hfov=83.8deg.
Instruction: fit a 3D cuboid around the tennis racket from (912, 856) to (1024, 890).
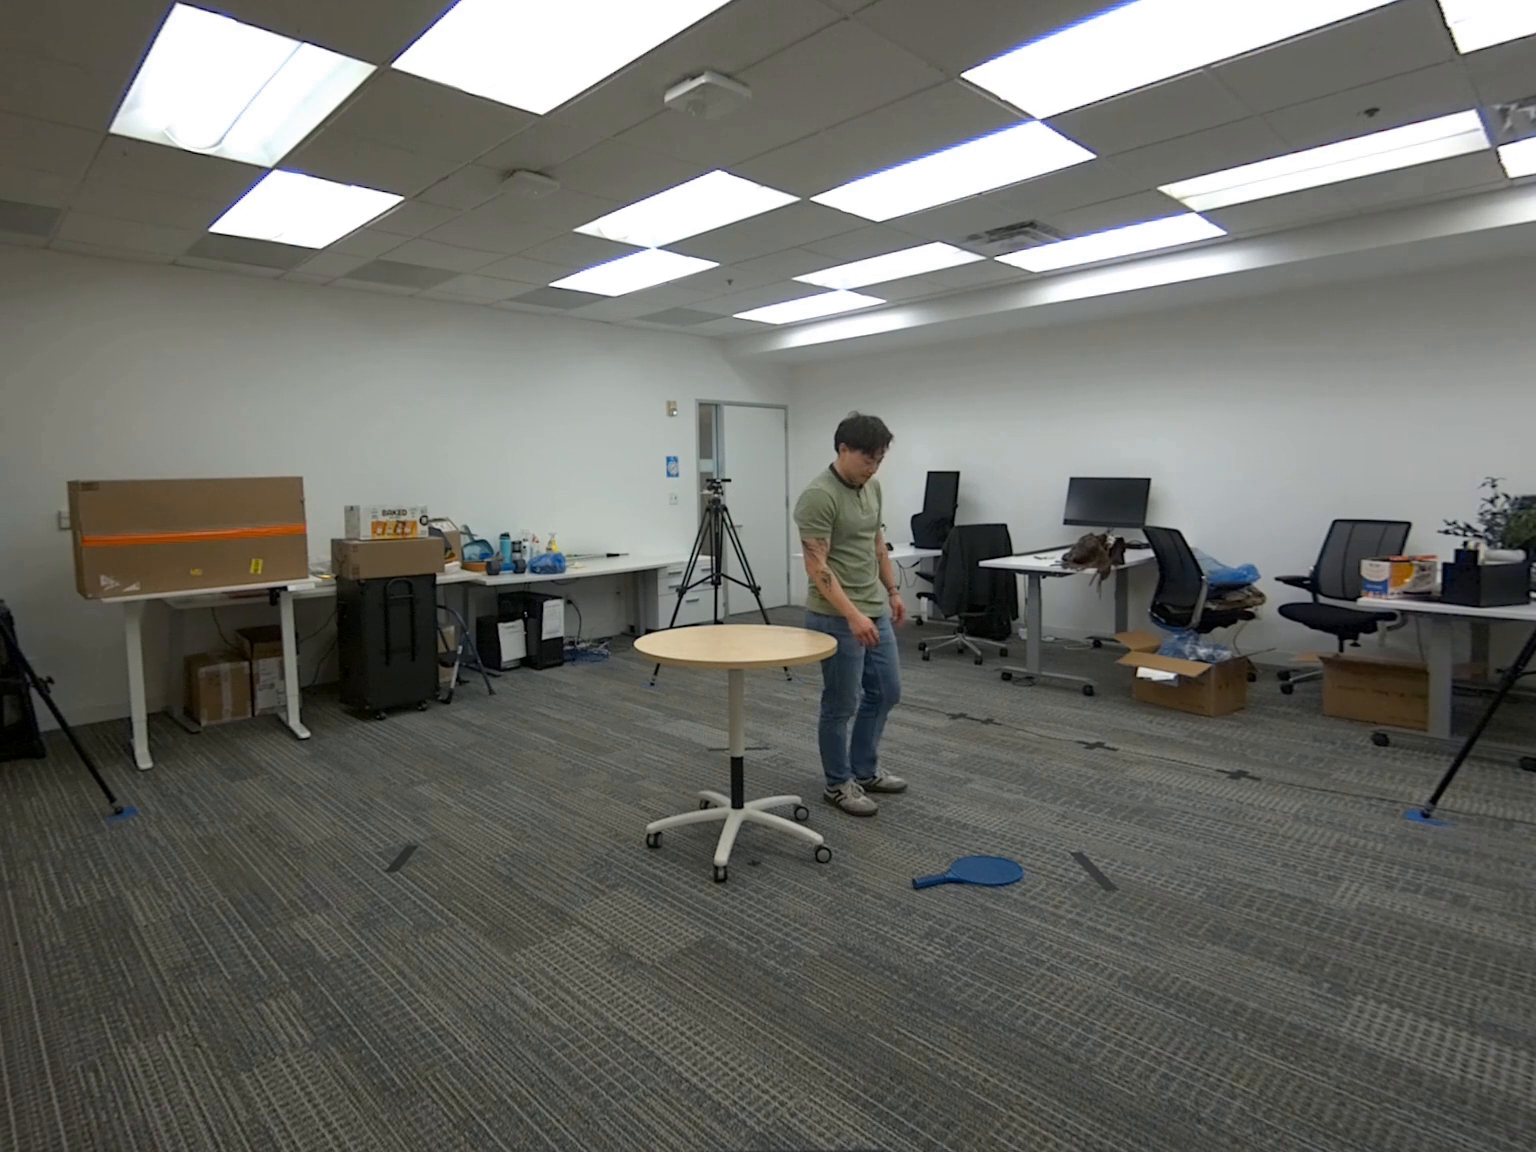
[{"bbox_3d":[0.689,1.030,2.971,0.424,0.031,0.219,-3,7,-24],"label":"tennis racket"}]
